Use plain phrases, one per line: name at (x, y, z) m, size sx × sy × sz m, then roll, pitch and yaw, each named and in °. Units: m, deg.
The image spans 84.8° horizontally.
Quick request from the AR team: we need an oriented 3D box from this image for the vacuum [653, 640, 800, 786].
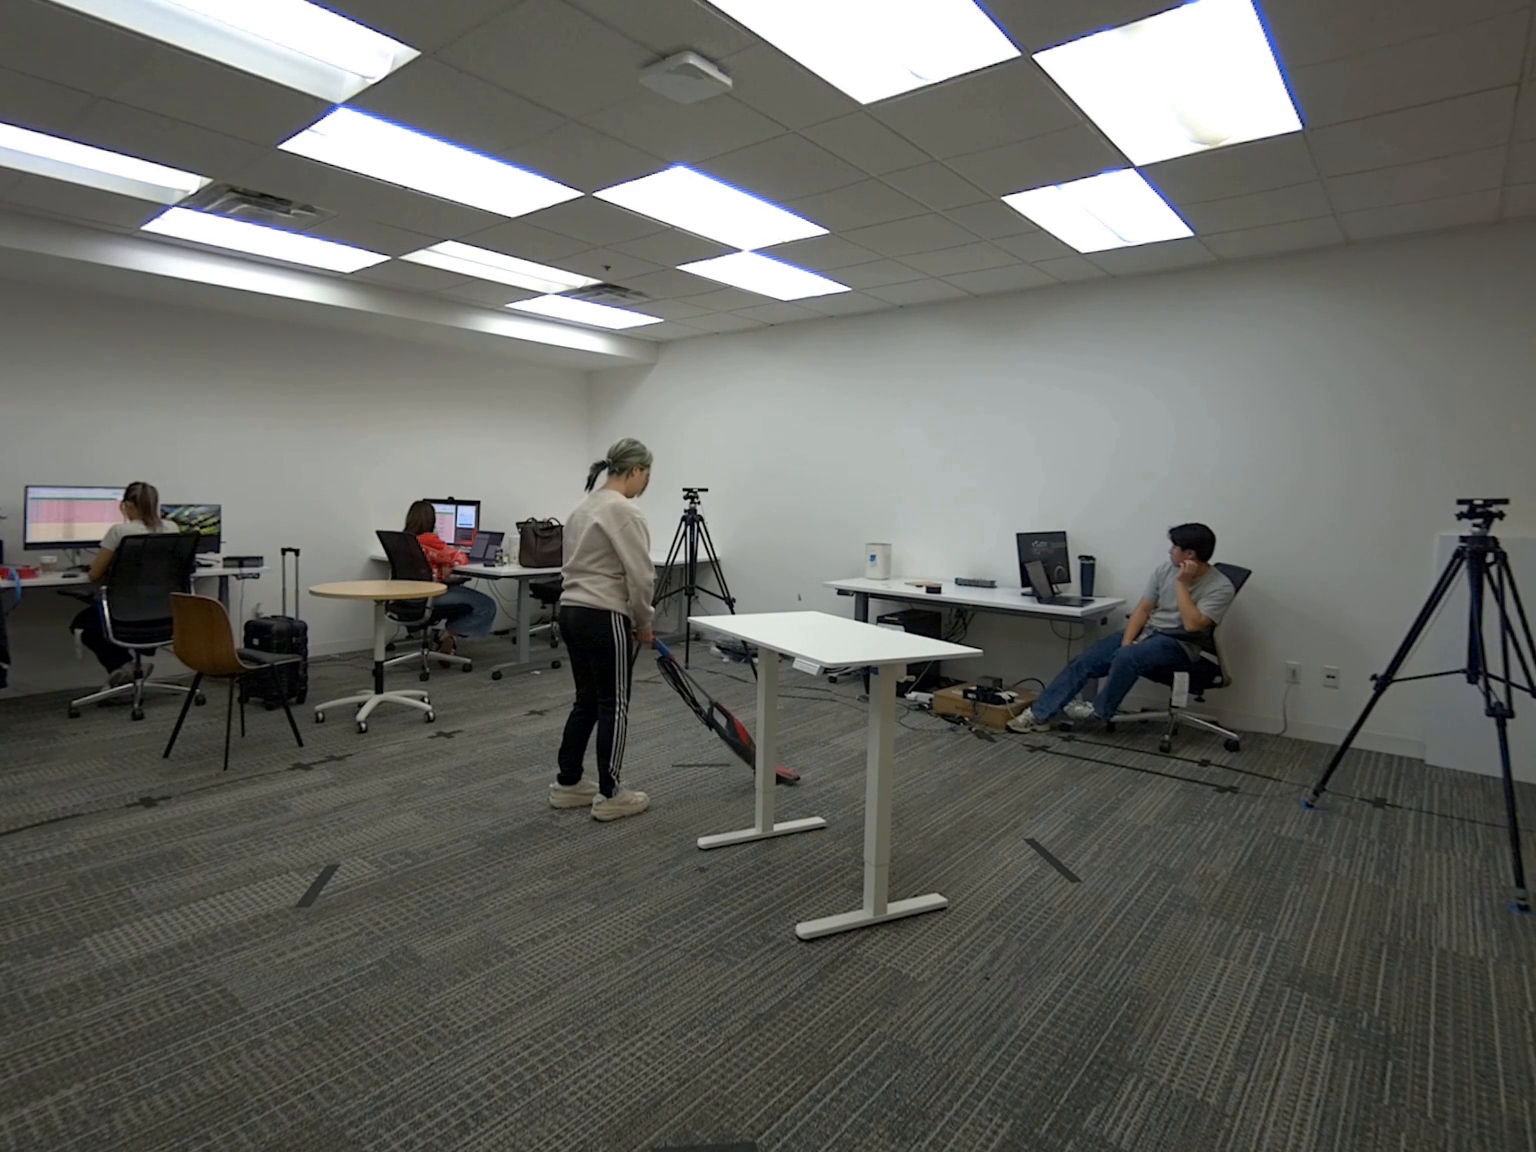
vacuum at (-0.284, 0.618, 3.906) m, size 1.018 × 0.144 × 0.260 m, roll 48°, pitch -20°, yaw -23°
